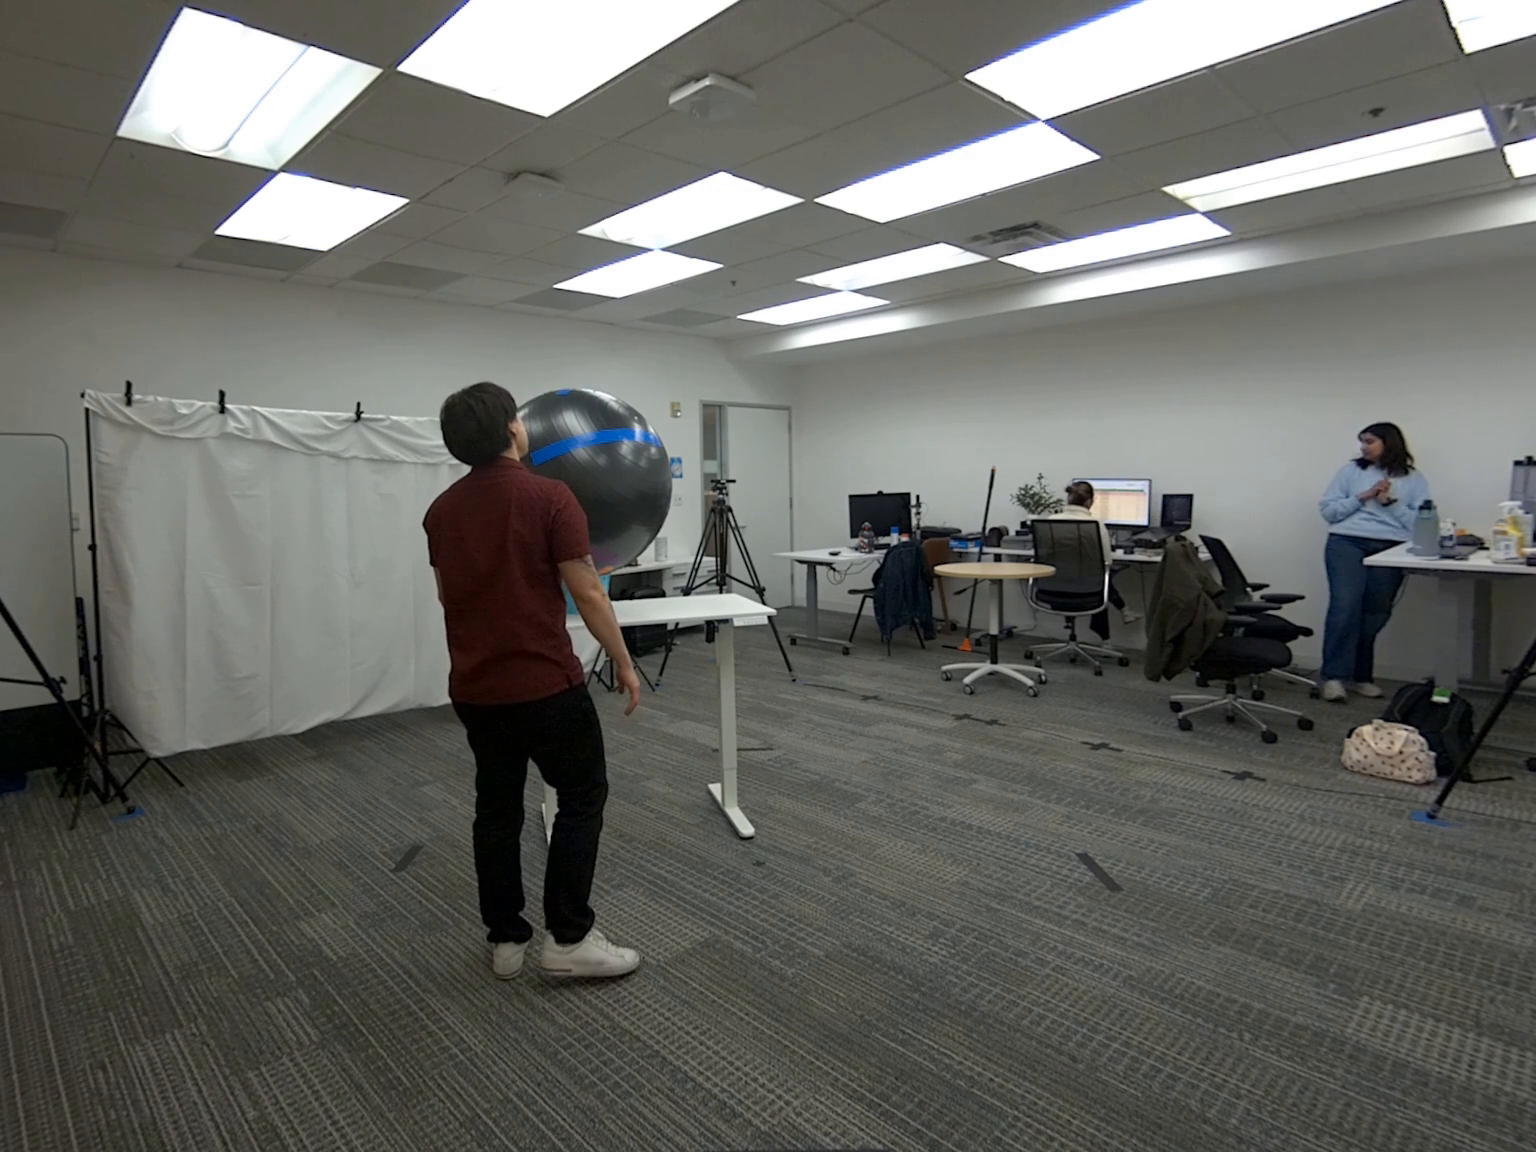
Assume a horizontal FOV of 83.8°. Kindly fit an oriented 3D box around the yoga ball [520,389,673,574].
[{"bbox_3d":[-0.778,-0.363,3.453,0.757,0.755,0.762,-1,5,-2],"label":"yoga ball"}]
